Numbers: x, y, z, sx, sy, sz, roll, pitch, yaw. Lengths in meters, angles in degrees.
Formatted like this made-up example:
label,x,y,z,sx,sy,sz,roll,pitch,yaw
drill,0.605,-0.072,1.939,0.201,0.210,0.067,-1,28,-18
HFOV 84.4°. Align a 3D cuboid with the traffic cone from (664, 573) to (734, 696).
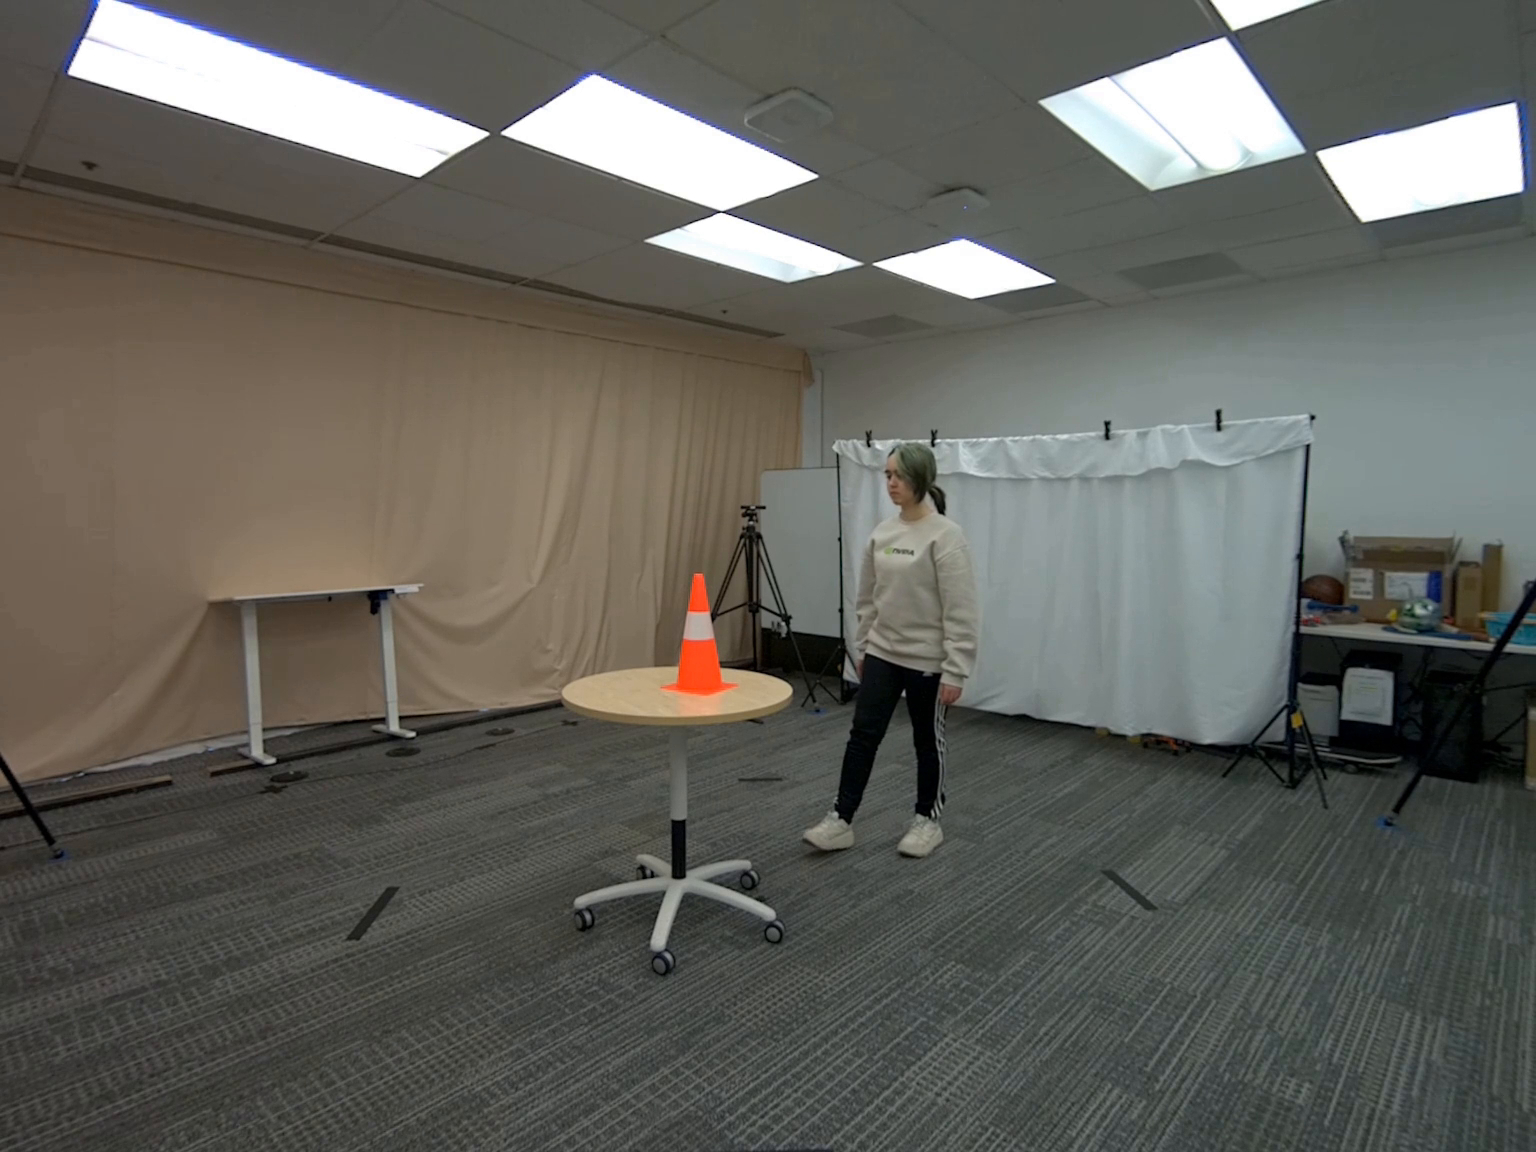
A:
label,x,y,z,sx,sy,sz,roll,pitch,yaw
traffic cone,-0.232,0.189,2.831,0.211,0.383,0.197,1,3,34
